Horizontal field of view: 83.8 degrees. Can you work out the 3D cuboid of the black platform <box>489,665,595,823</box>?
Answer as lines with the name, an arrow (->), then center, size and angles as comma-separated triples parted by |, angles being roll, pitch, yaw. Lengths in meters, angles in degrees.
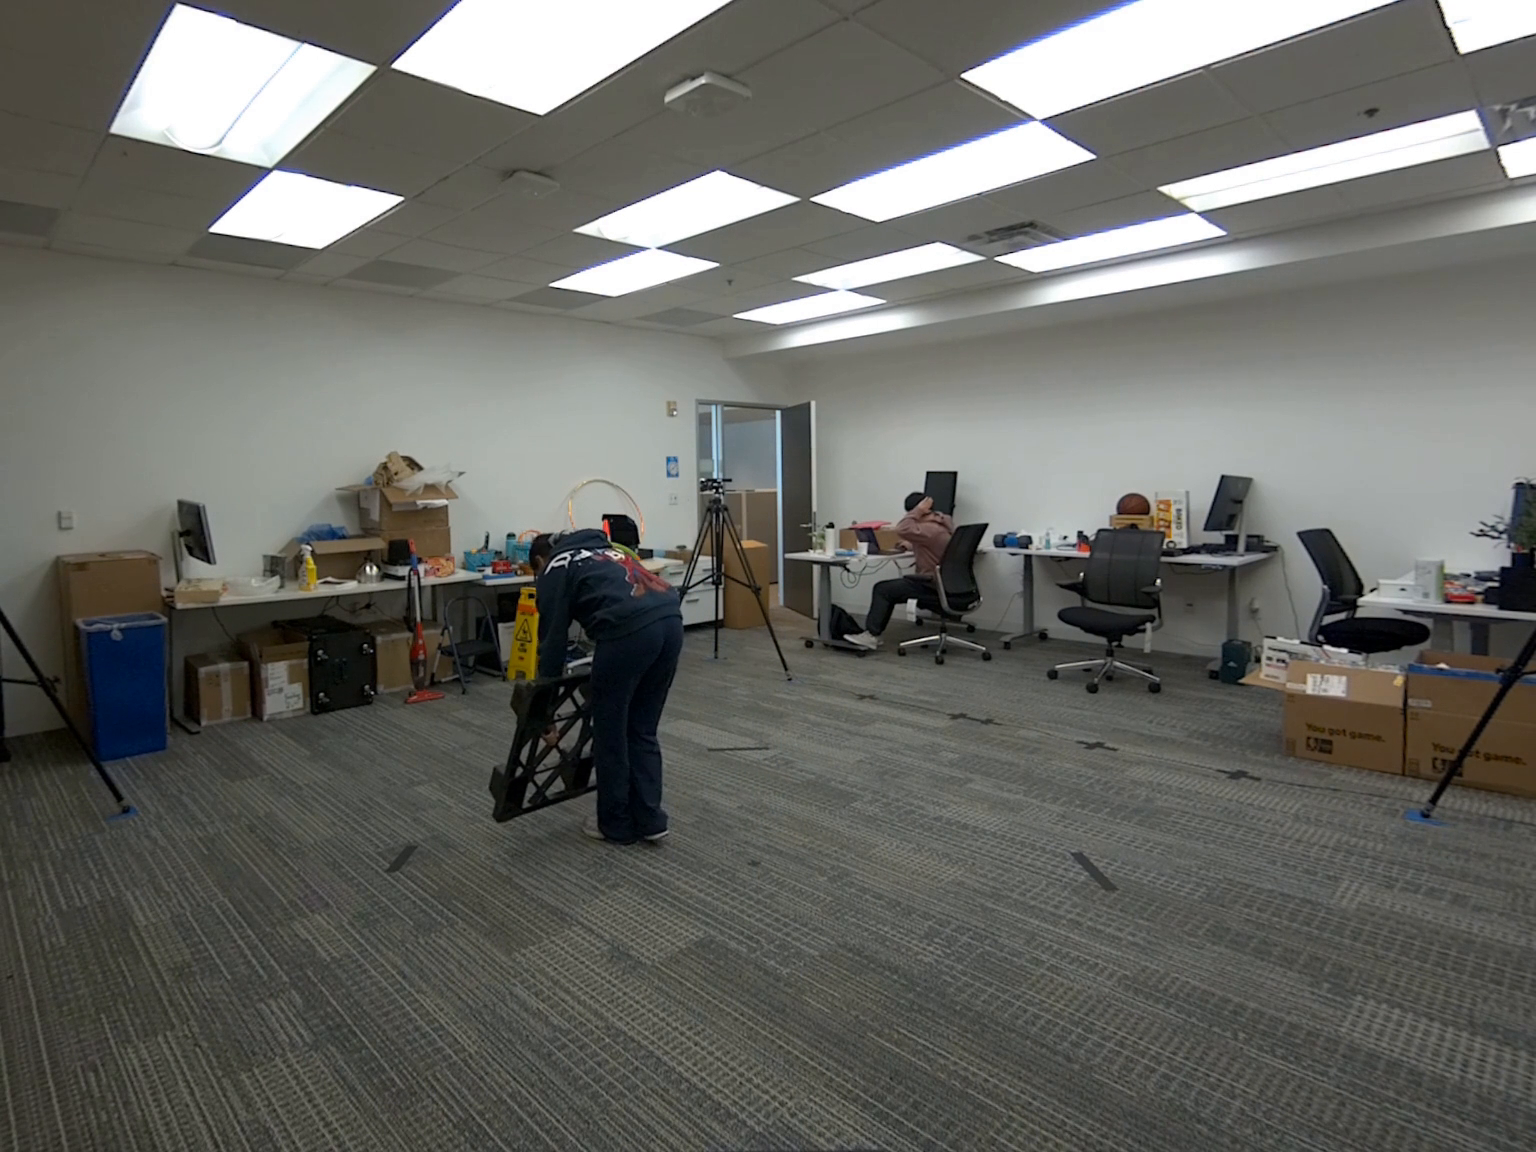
black platform -> -0.759, 0.620, 3.500 | 0.148, 0.600, 0.784 | 26, 17, 33
